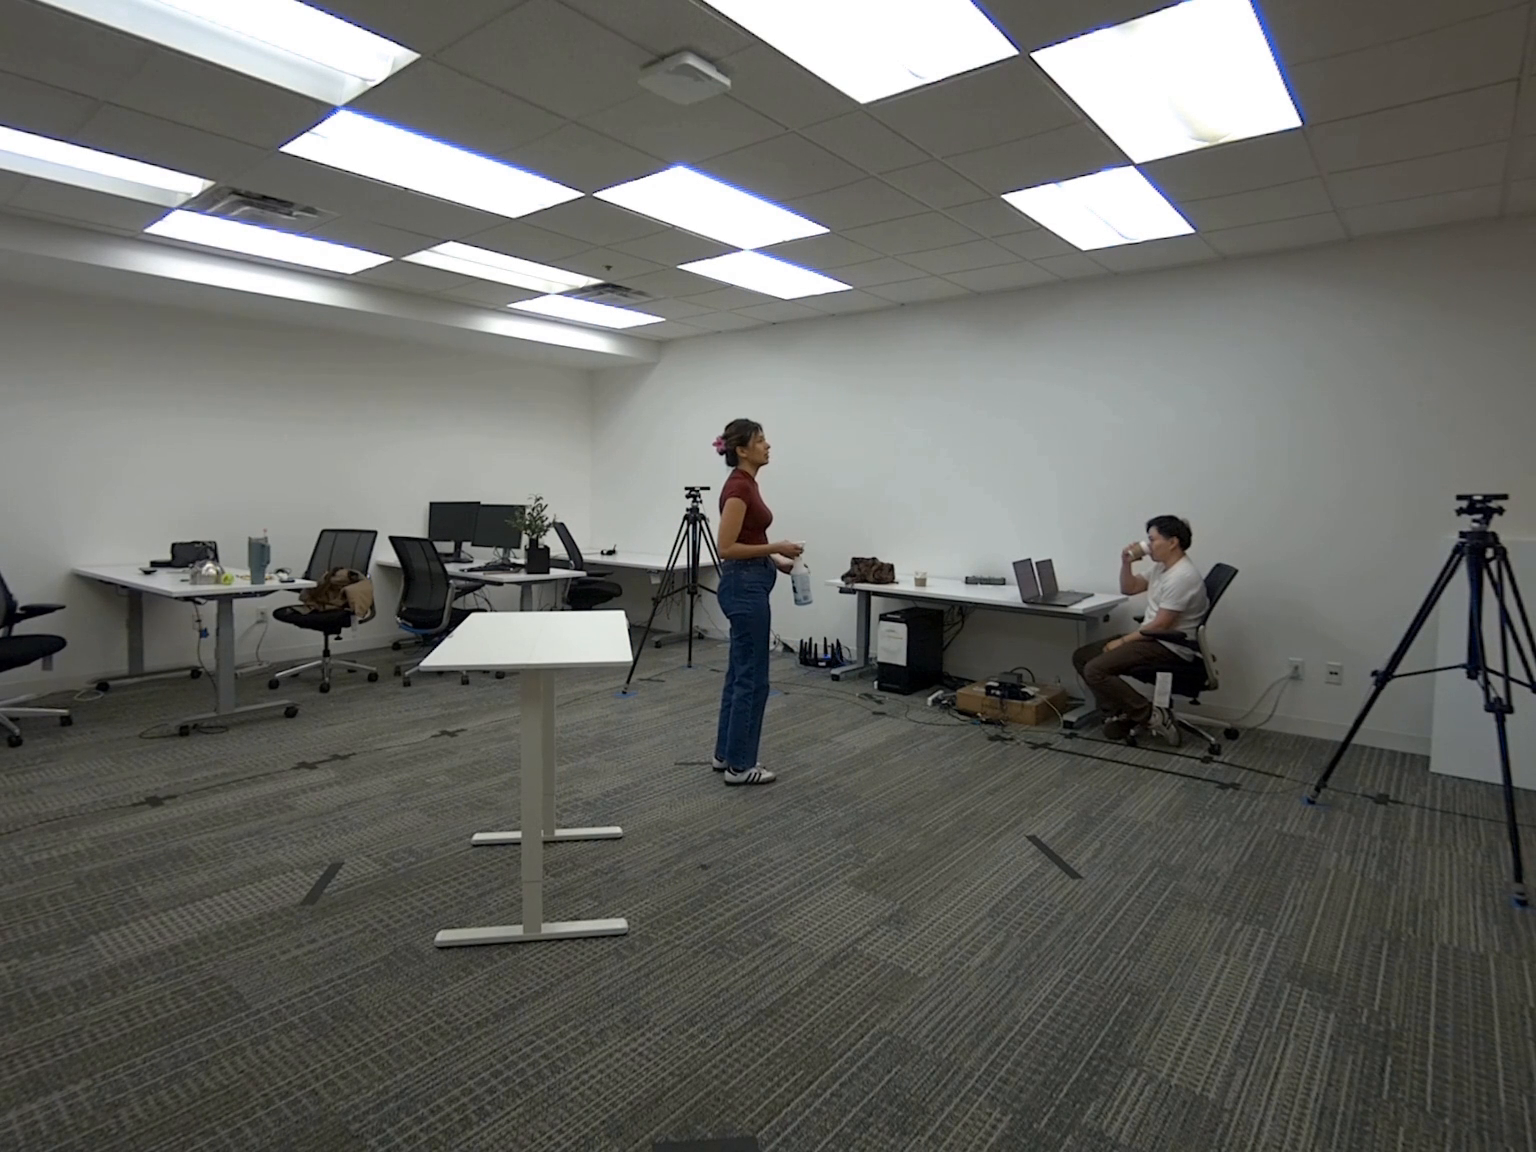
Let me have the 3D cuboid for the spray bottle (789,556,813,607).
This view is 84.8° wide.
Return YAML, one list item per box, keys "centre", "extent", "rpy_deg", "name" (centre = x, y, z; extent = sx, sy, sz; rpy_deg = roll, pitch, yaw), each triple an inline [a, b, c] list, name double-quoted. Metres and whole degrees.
- centre: [0.138, -0.011, 4.013]
  extent: [0.085, 0.295, 0.093]
  rpy_deg: [-12, 9, -43]
  name: "spray bottle"
